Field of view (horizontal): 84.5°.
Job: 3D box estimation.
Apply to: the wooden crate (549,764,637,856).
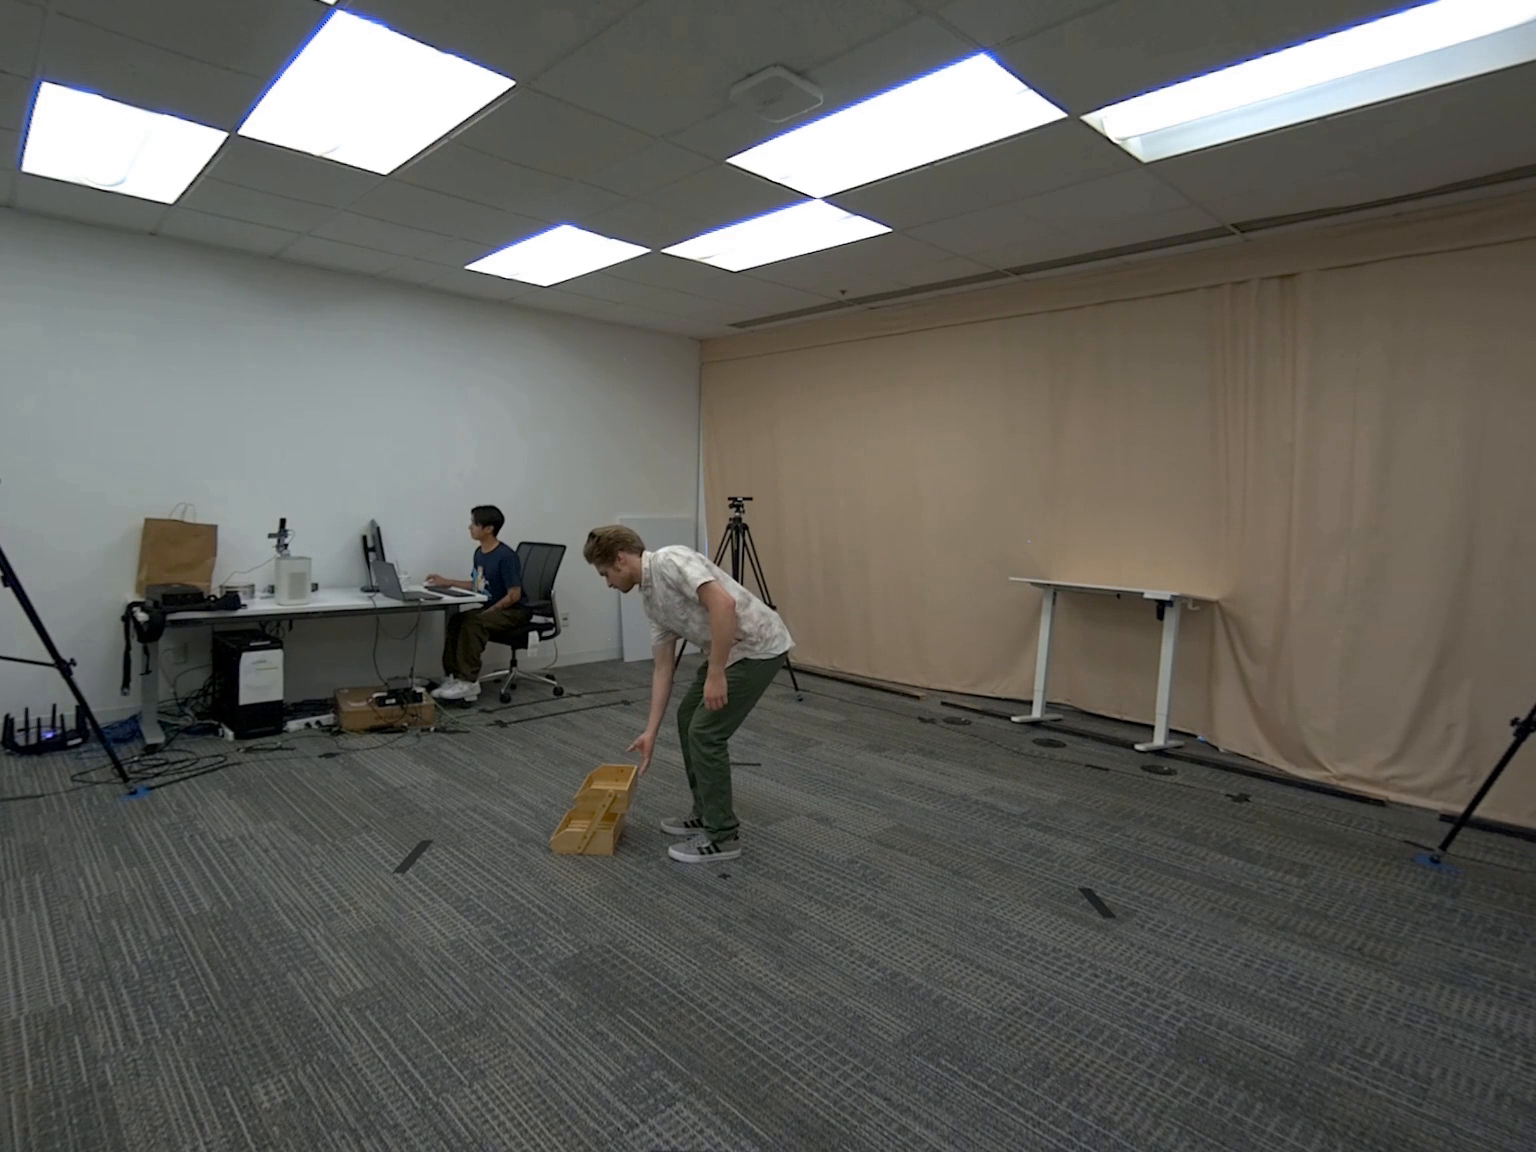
[{"bbox_3d":[-0.703,0.933,3.414,0.302,0.272,0.325,2,4,-1],"label":"wooden crate"}]
